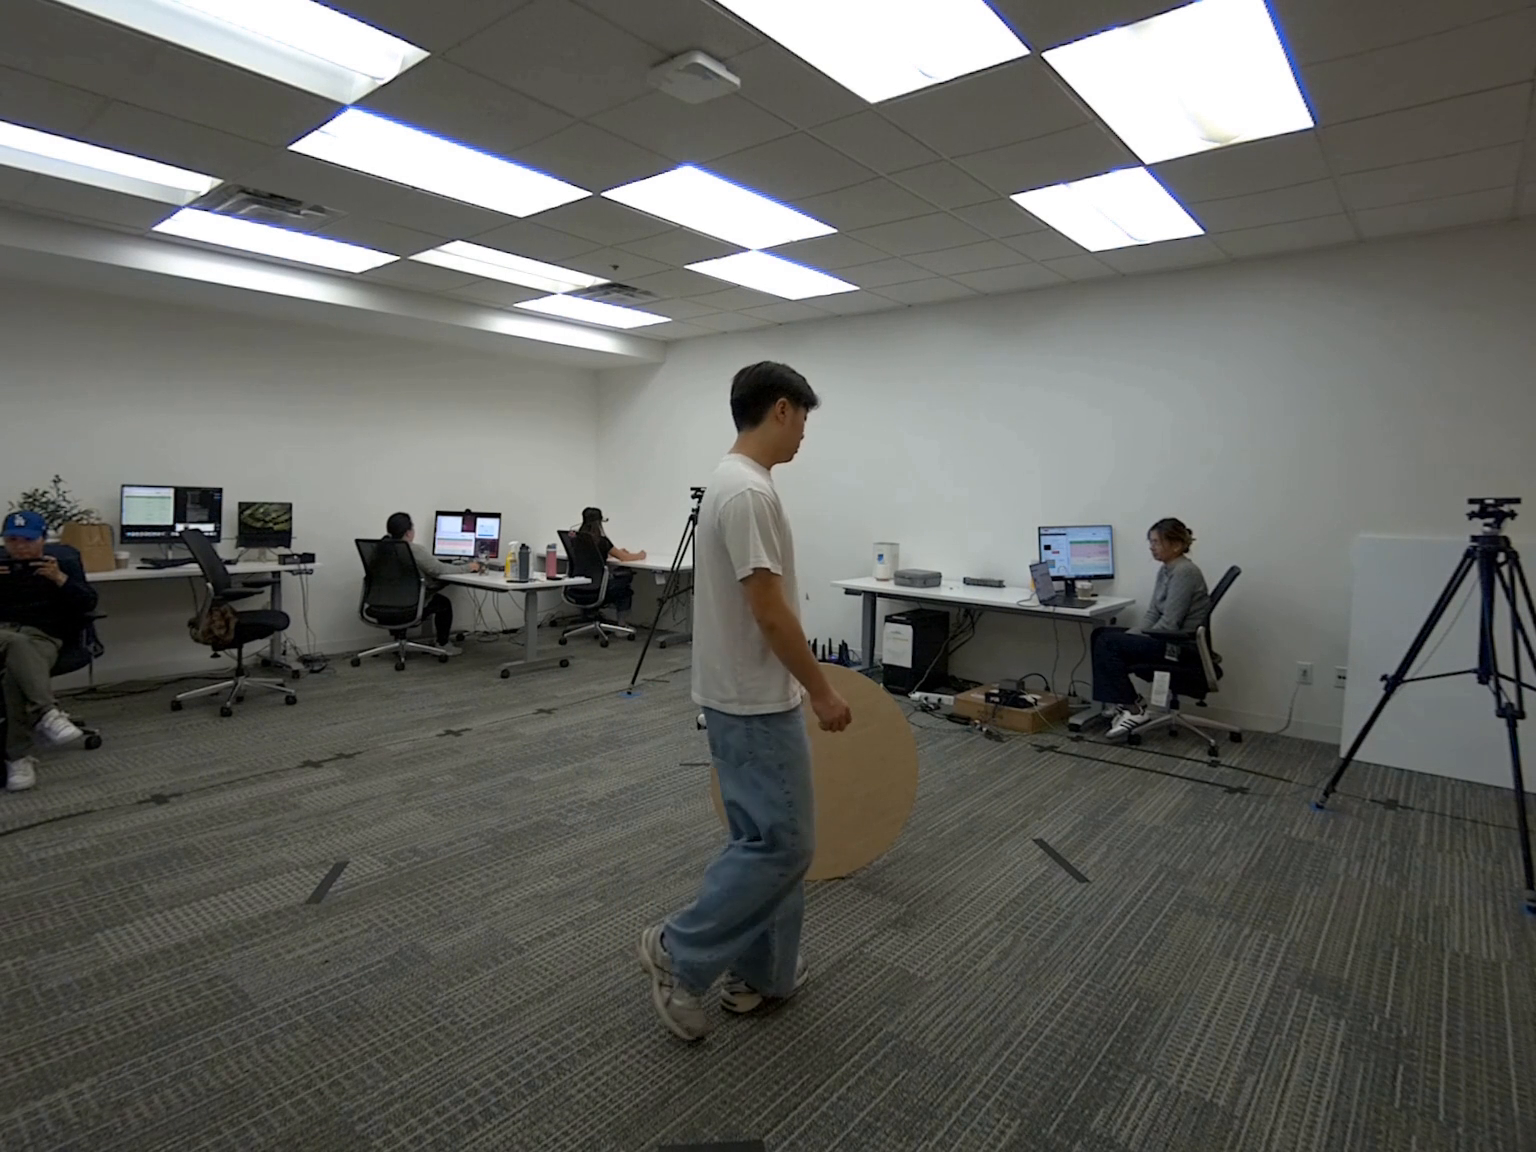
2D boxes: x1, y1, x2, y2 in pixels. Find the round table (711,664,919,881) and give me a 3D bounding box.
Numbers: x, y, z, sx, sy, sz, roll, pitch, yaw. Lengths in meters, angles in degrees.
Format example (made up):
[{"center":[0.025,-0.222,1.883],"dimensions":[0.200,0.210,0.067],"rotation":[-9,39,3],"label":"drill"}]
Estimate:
[{"center":[0.081,0.691,3.441],"dimensions":[0.776,0.787,0.794],"rotation":[0,-1,-11],"label":"round table"}]
